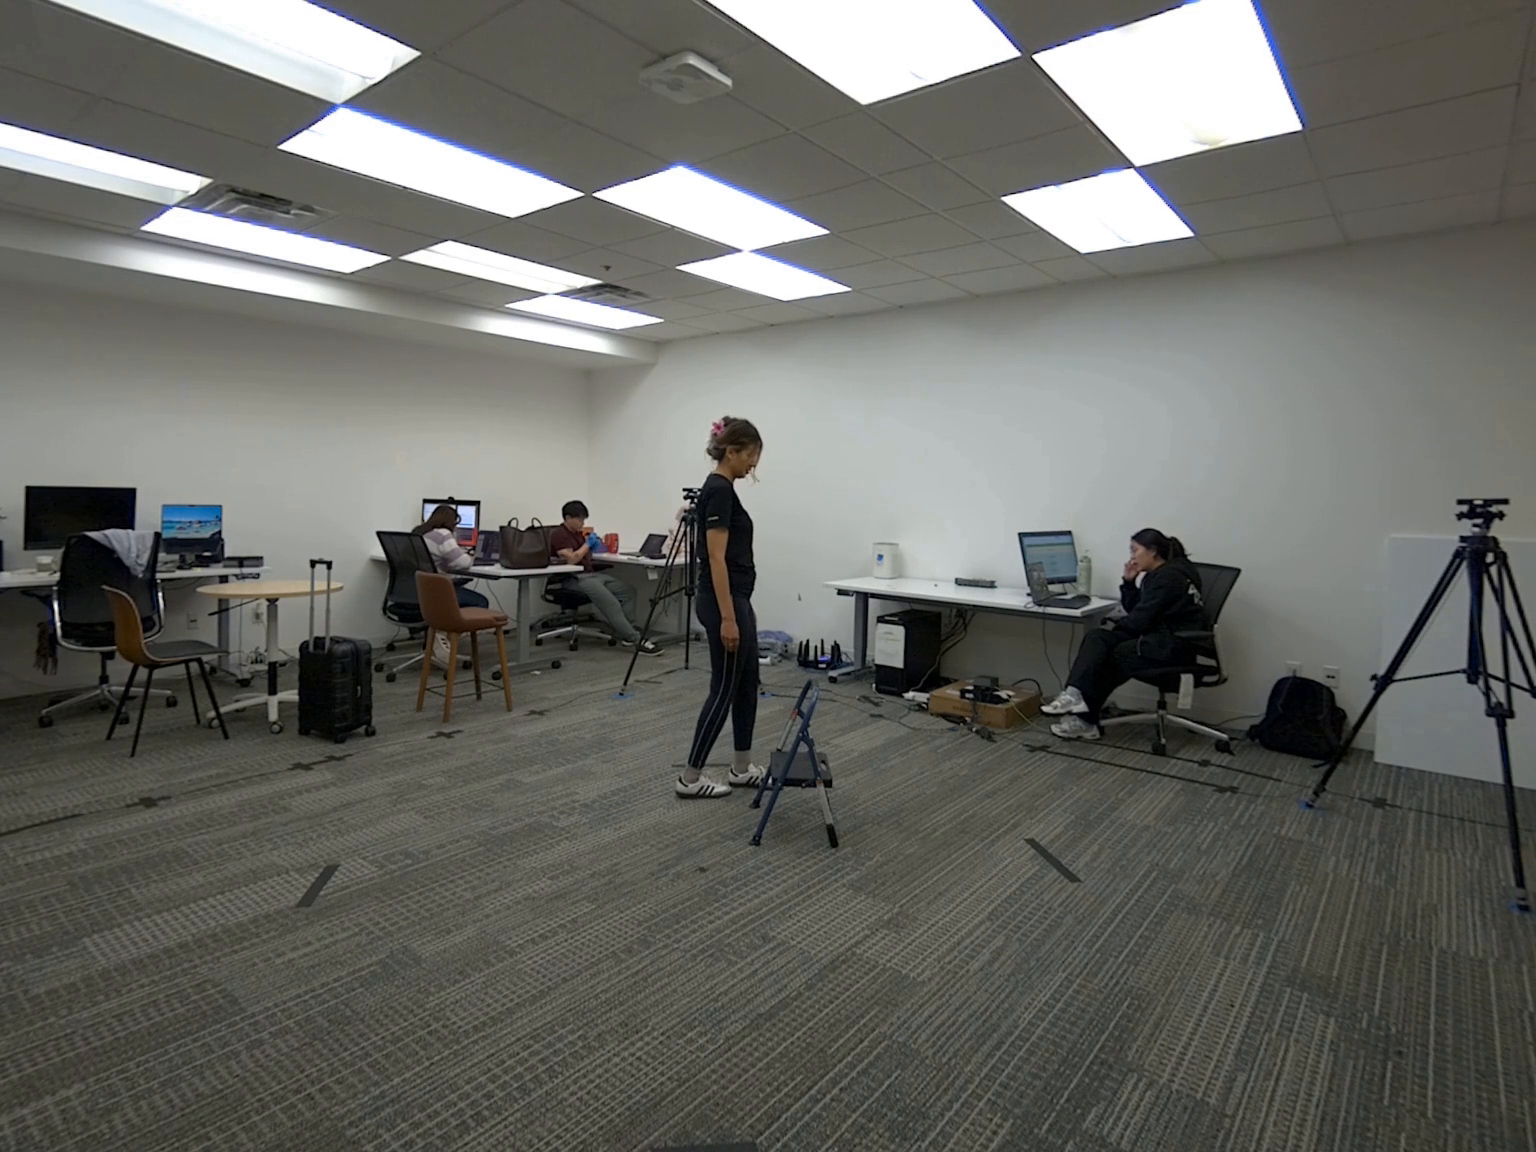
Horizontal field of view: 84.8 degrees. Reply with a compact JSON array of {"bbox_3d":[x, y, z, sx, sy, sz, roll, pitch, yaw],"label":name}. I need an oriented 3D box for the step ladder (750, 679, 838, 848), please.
[{"bbox_3d":[0.100,0.735,3.516,0.350,0.604,0.432,0,4,0],"label":"step ladder"}]
